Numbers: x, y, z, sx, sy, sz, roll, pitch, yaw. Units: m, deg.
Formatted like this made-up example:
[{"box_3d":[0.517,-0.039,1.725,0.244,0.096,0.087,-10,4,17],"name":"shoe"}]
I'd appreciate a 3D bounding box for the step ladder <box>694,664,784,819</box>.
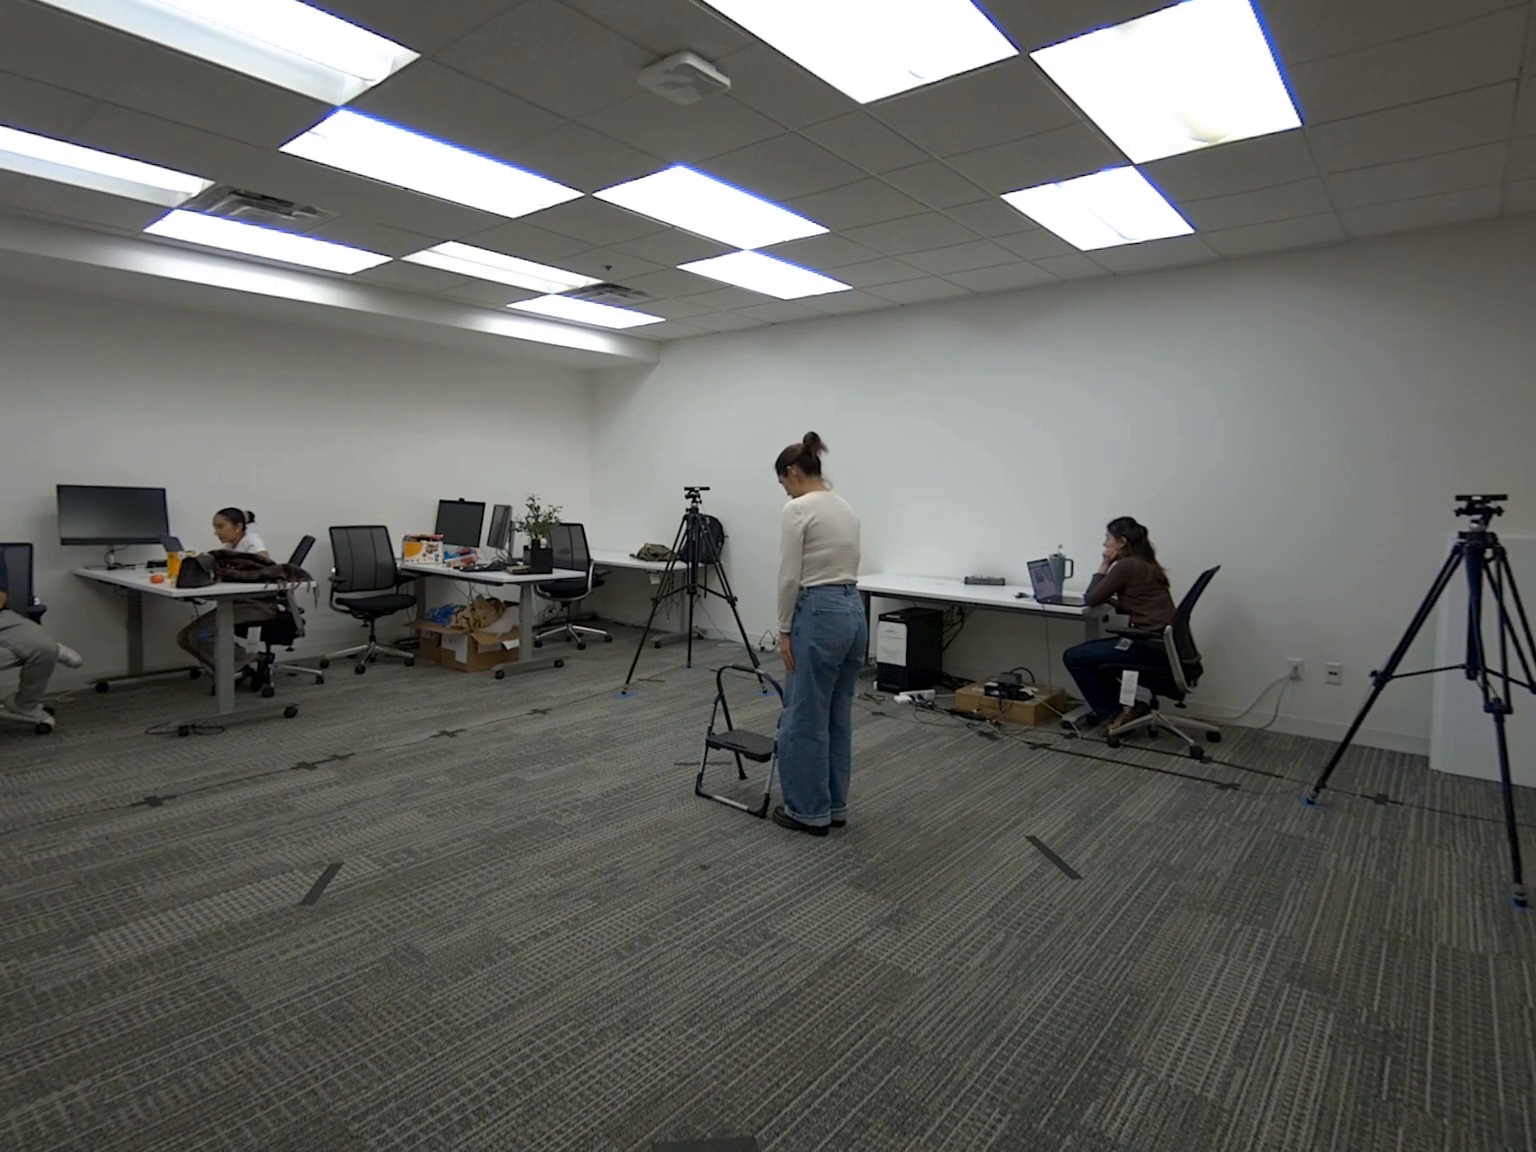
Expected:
[{"box_3d":[-0.074,0.692,3.839,0.445,0.605,0.339,4,4,41],"name":"step ladder"}]
